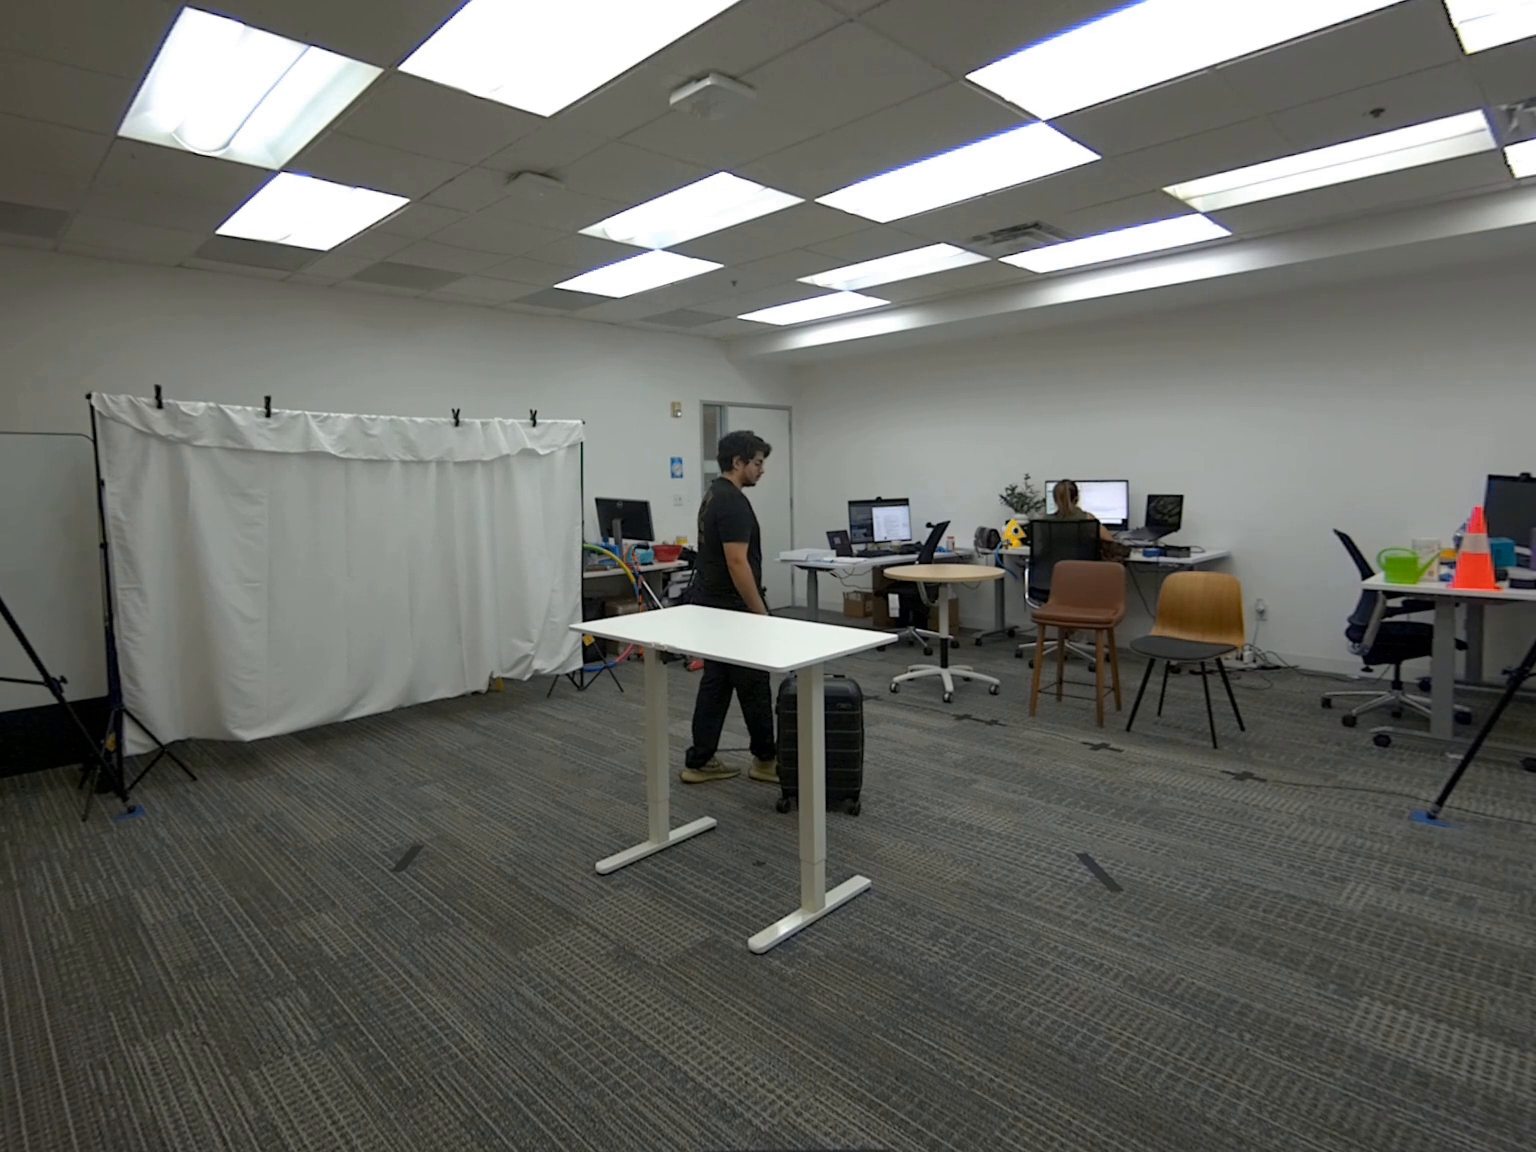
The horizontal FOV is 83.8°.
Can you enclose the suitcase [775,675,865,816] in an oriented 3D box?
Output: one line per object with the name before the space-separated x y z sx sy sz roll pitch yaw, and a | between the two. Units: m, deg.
suitcase | 0.235 0.708 3.676 0.377 0.549 0.247 0 1 4
